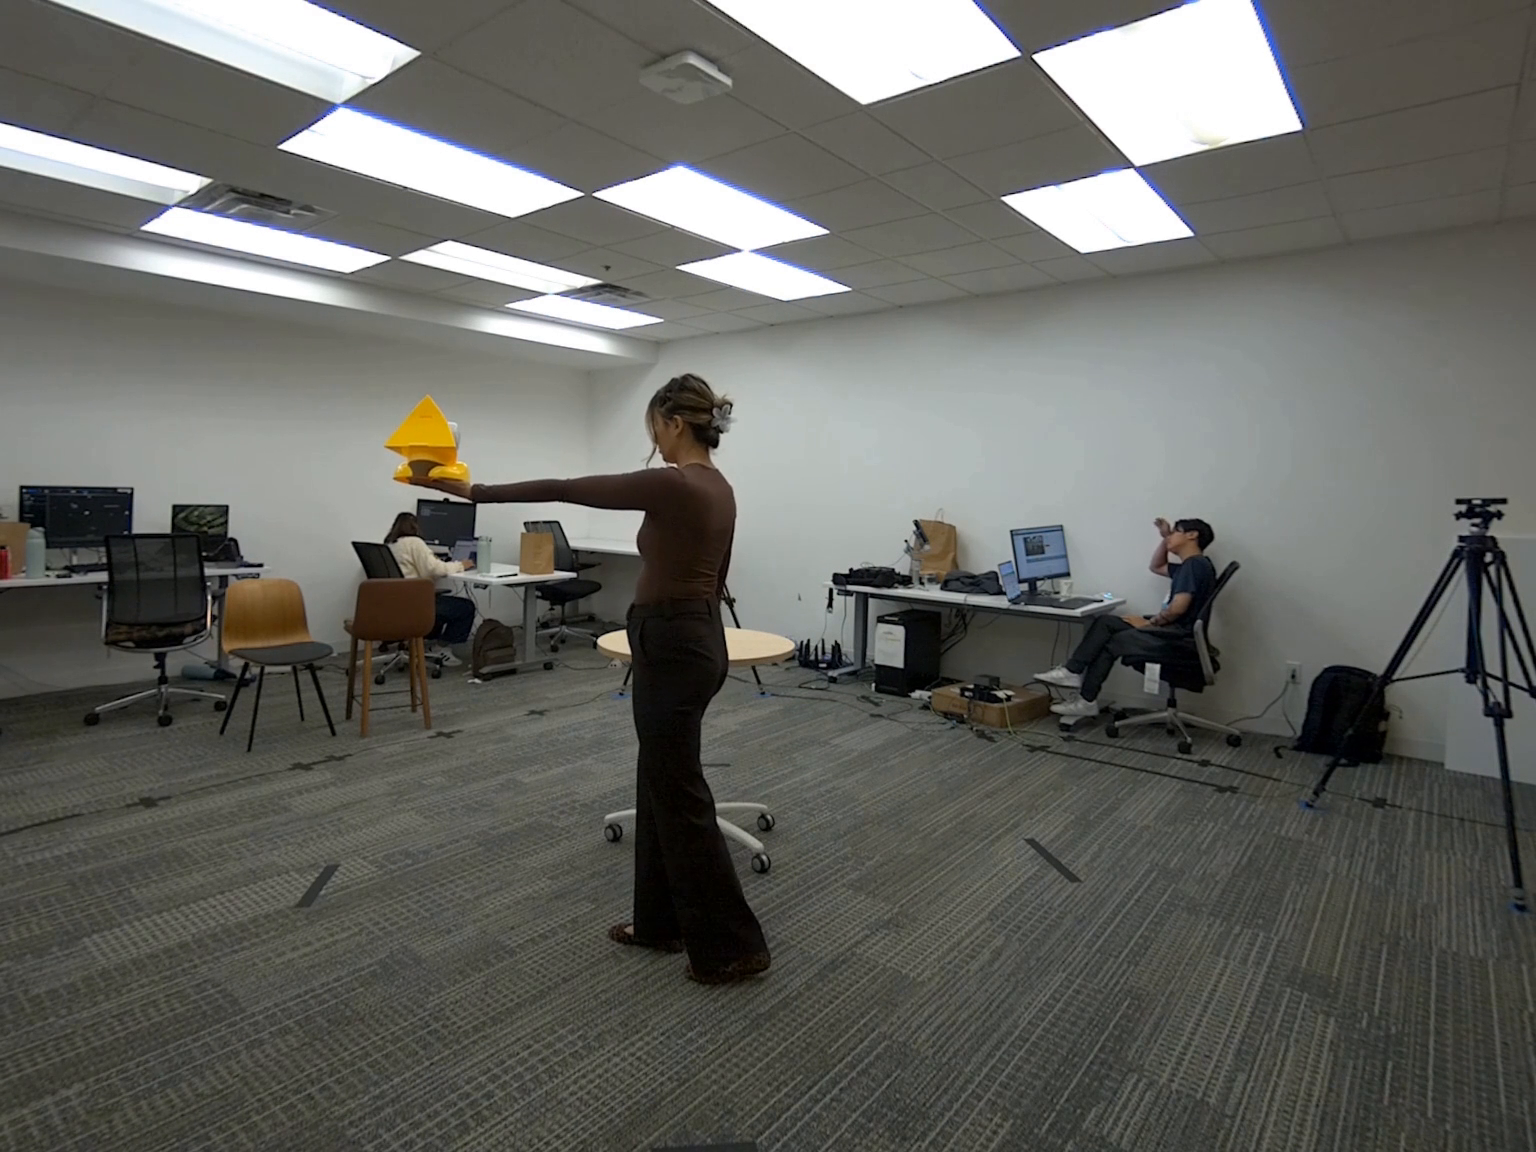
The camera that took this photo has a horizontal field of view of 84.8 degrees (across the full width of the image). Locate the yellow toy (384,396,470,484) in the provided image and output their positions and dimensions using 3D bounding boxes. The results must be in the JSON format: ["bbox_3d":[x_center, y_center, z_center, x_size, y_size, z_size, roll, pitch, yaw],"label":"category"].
[{"bbox_3d":[-0.949,-0.380,2.383,0.206,0.232,0.191,1,-6,5],"label":"yellow toy"}]
